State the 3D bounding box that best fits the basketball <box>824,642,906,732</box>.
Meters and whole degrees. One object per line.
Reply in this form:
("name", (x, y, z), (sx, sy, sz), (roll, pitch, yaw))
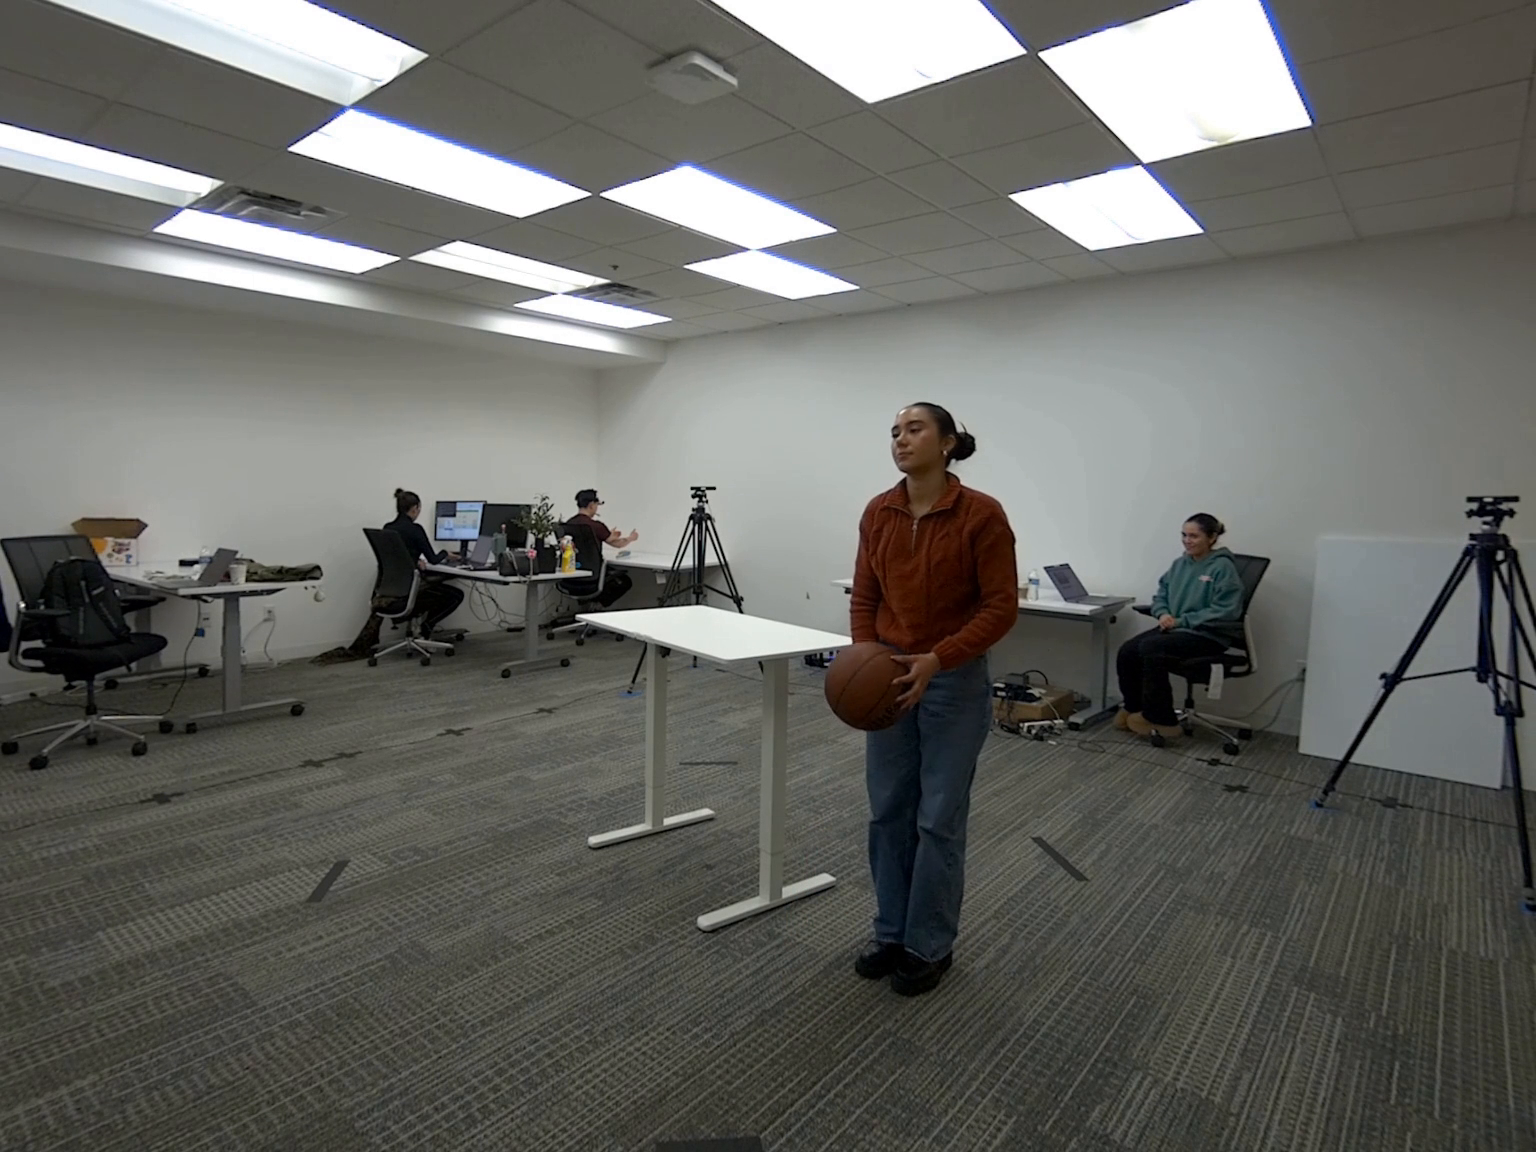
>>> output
("basketball", (0.266, 0.295, 2.295), (0.235, 0.235, 0.237), (1, 4, -2))
